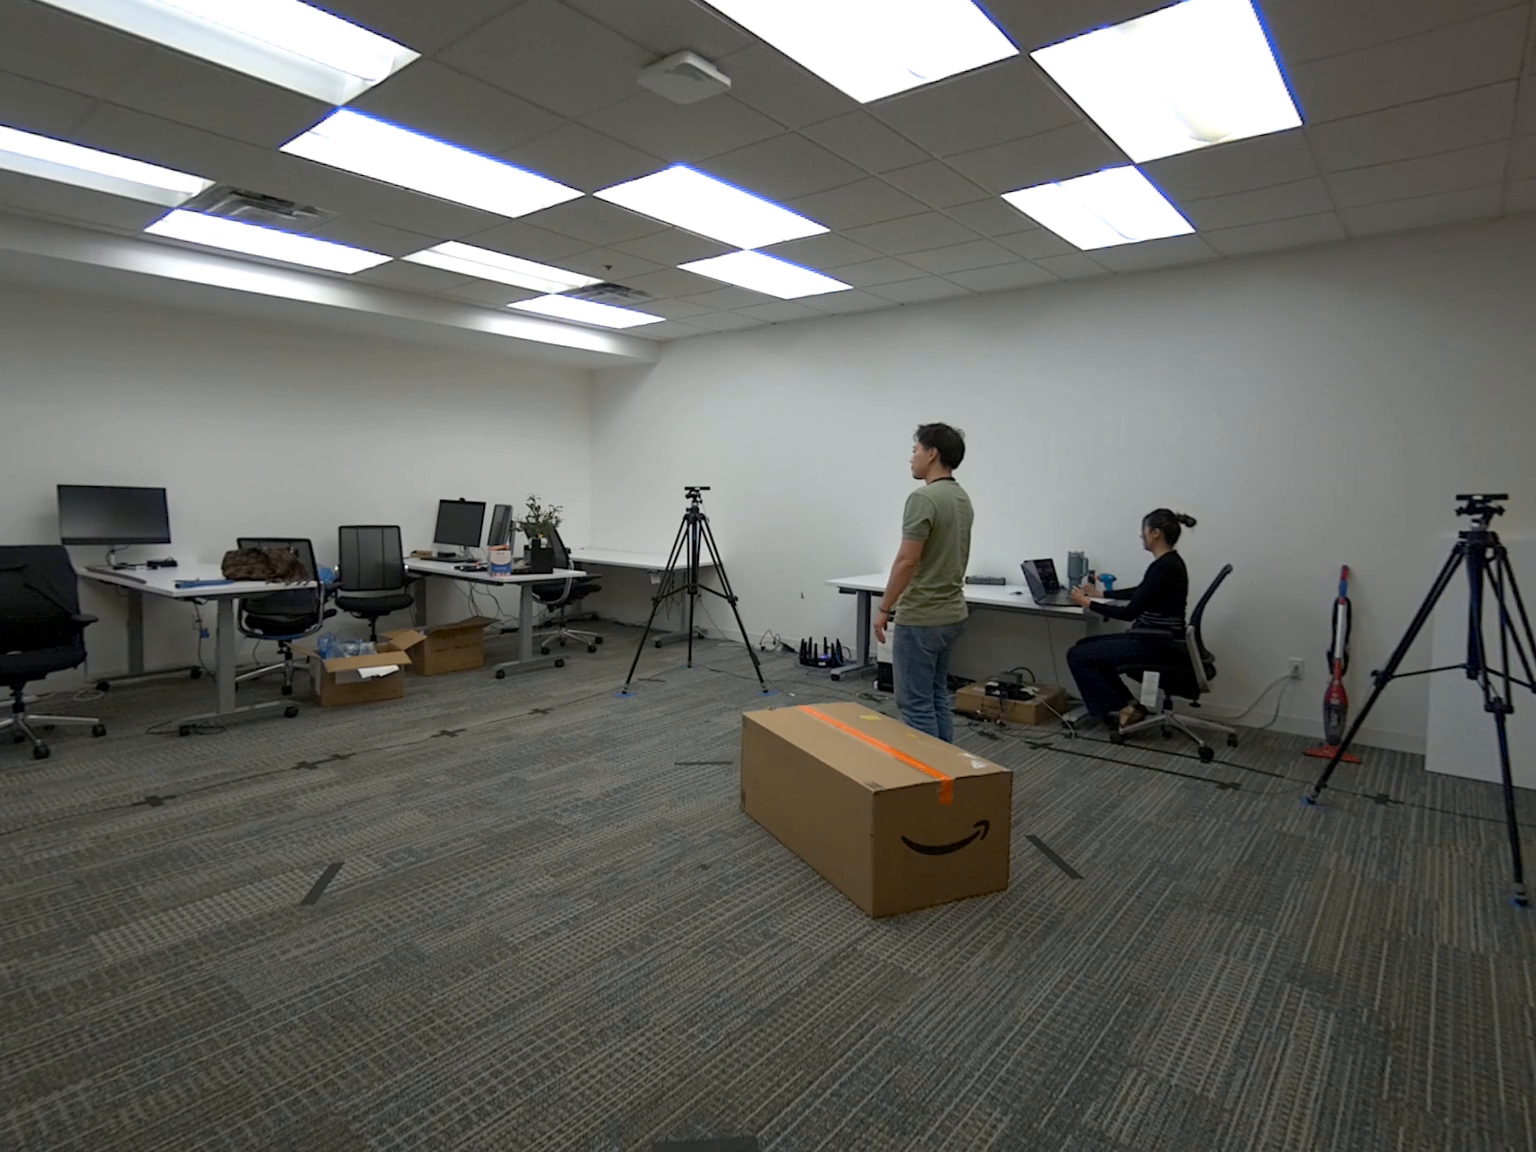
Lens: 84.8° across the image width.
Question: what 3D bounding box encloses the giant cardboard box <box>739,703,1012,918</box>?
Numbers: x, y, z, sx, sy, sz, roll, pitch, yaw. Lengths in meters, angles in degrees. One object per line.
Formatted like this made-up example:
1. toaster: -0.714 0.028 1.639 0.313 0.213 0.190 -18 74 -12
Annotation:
1. giant cardboard box: 0.355 0.836 3.323 0.563 0.425 1.055 0 5 -26
